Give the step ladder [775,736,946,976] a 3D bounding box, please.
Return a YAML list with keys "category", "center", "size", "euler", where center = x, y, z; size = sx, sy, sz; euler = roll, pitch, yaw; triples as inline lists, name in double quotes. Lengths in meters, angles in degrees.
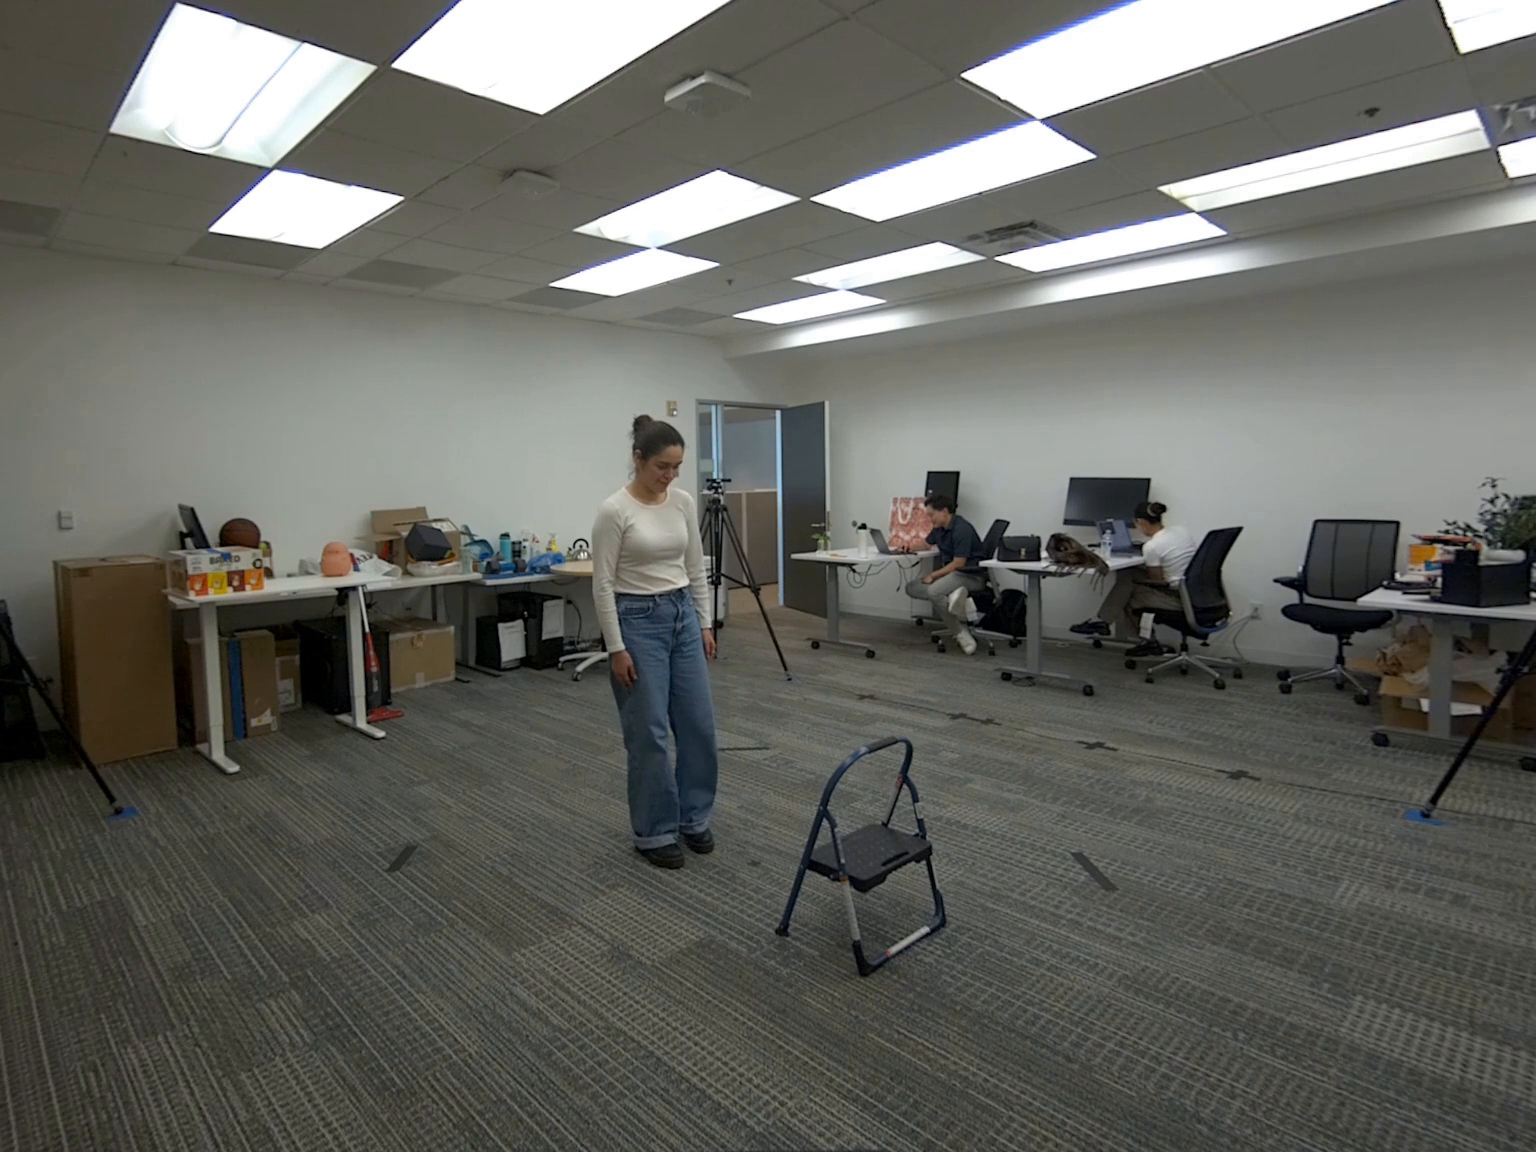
- category: "step ladder"
  center: [0.290, 0.791, 2.627]
  size: [0.360, 0.604, 0.419]
  euler: [3, 6, 45]
